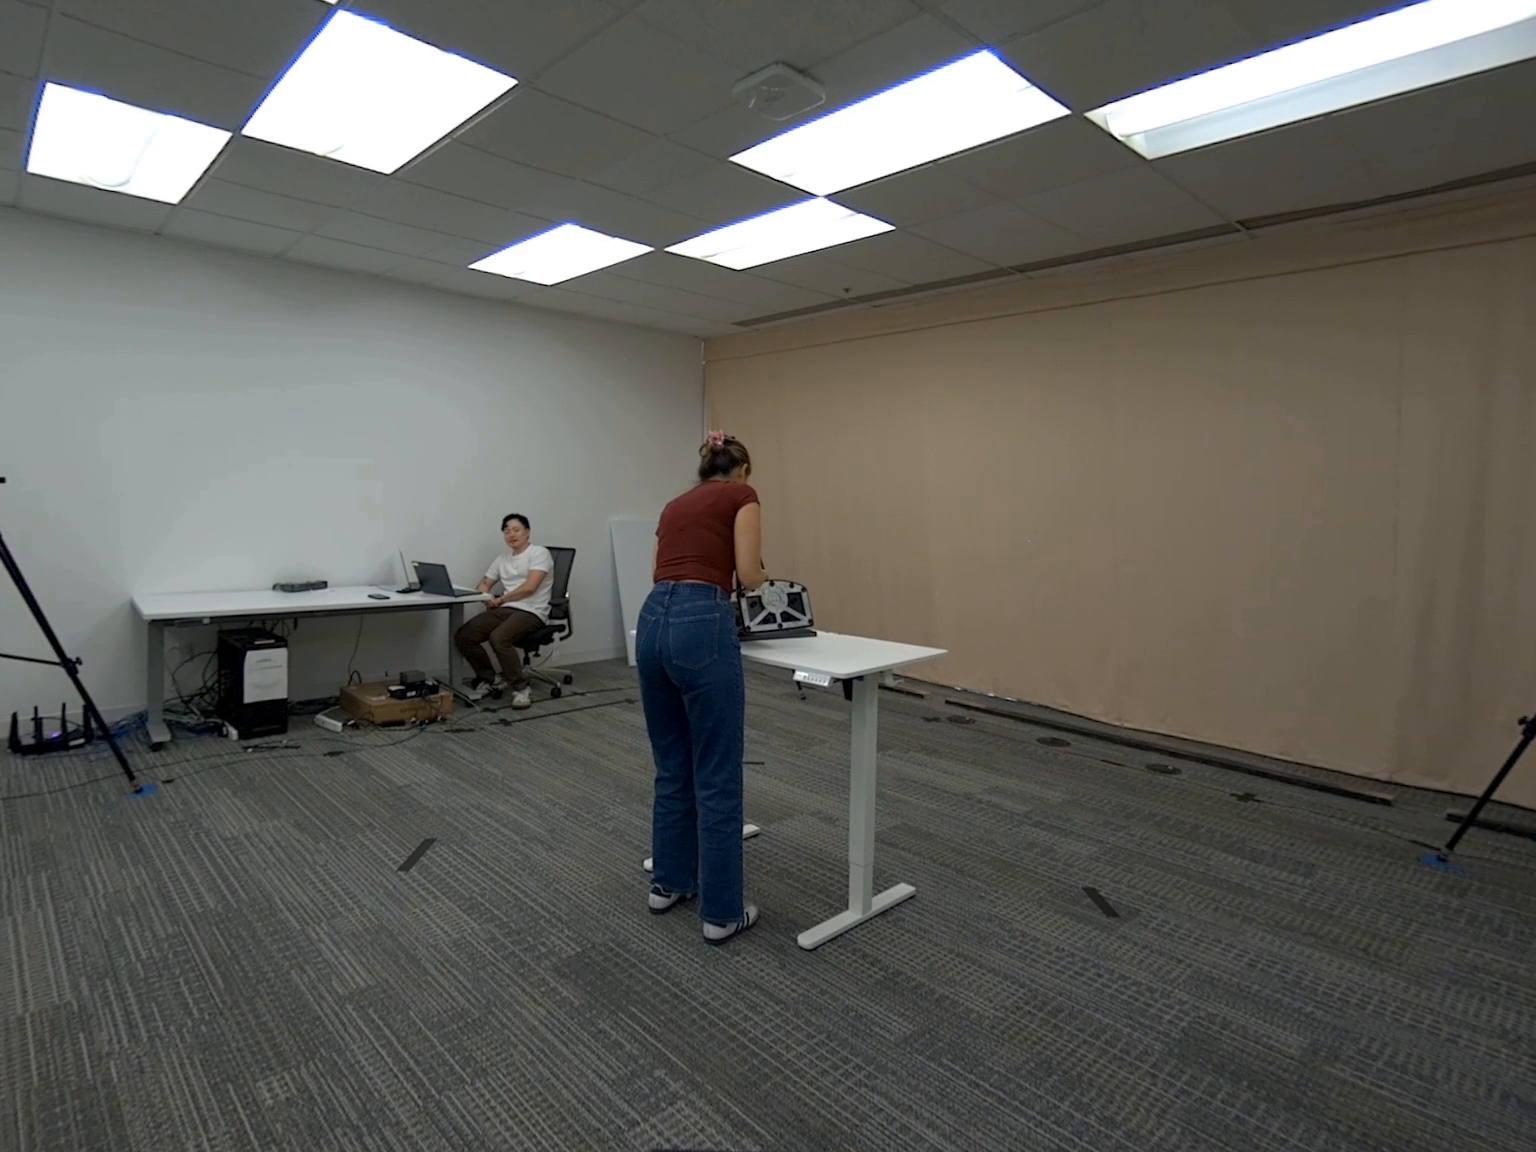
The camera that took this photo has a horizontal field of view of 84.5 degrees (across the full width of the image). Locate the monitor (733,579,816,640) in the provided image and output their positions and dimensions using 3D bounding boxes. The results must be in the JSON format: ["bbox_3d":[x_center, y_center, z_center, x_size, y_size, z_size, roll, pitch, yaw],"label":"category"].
[{"bbox_3d":[-0.098,0.157,3.096,0.528,0.189,0.528,-1,-10,-29],"label":"monitor"}]
